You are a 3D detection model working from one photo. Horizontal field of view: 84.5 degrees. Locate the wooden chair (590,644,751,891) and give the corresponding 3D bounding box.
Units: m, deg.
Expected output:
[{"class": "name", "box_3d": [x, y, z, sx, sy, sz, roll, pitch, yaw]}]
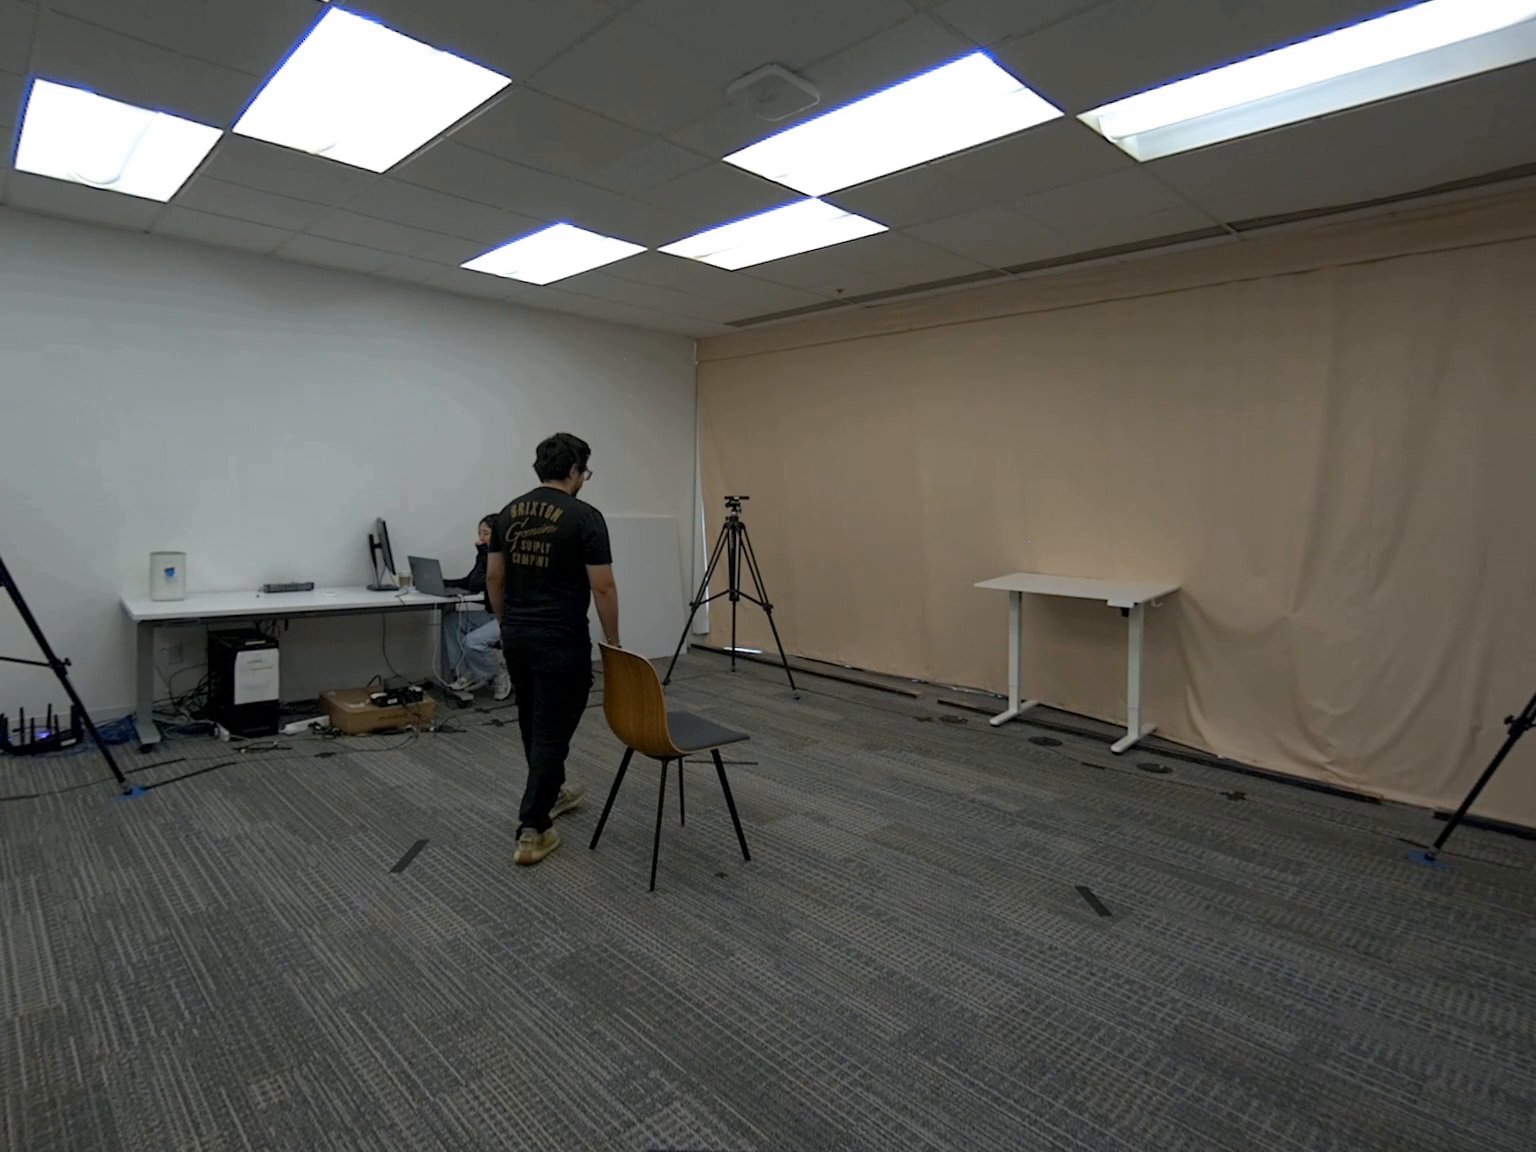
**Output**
[{"class": "wooden chair", "box_3d": [-0.368, 0.658, 3.241, 0.512, 0.873, 0.490, -7, 8, -39]}]
